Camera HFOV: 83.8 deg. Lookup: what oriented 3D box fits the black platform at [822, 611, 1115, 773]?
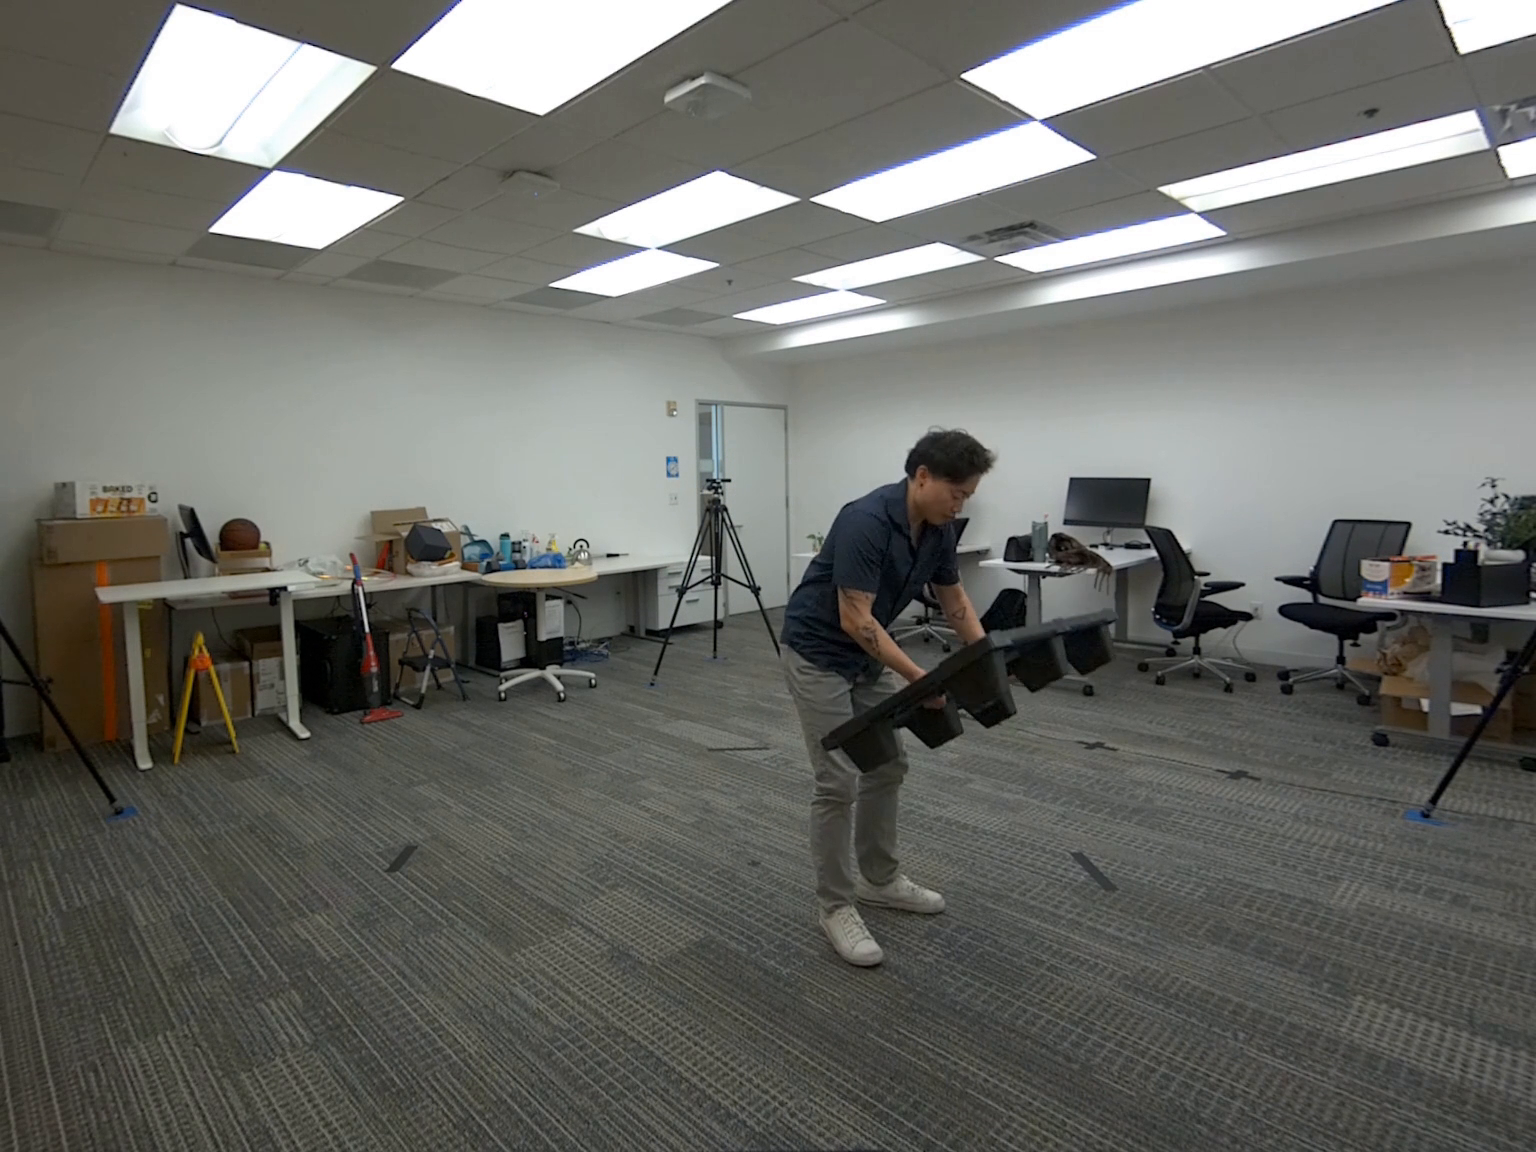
[{"bbox_3d":[0.622,0.333,2.394,0.783,0.147,0.607,-4,-29,-47],"label":"black platform"}]
